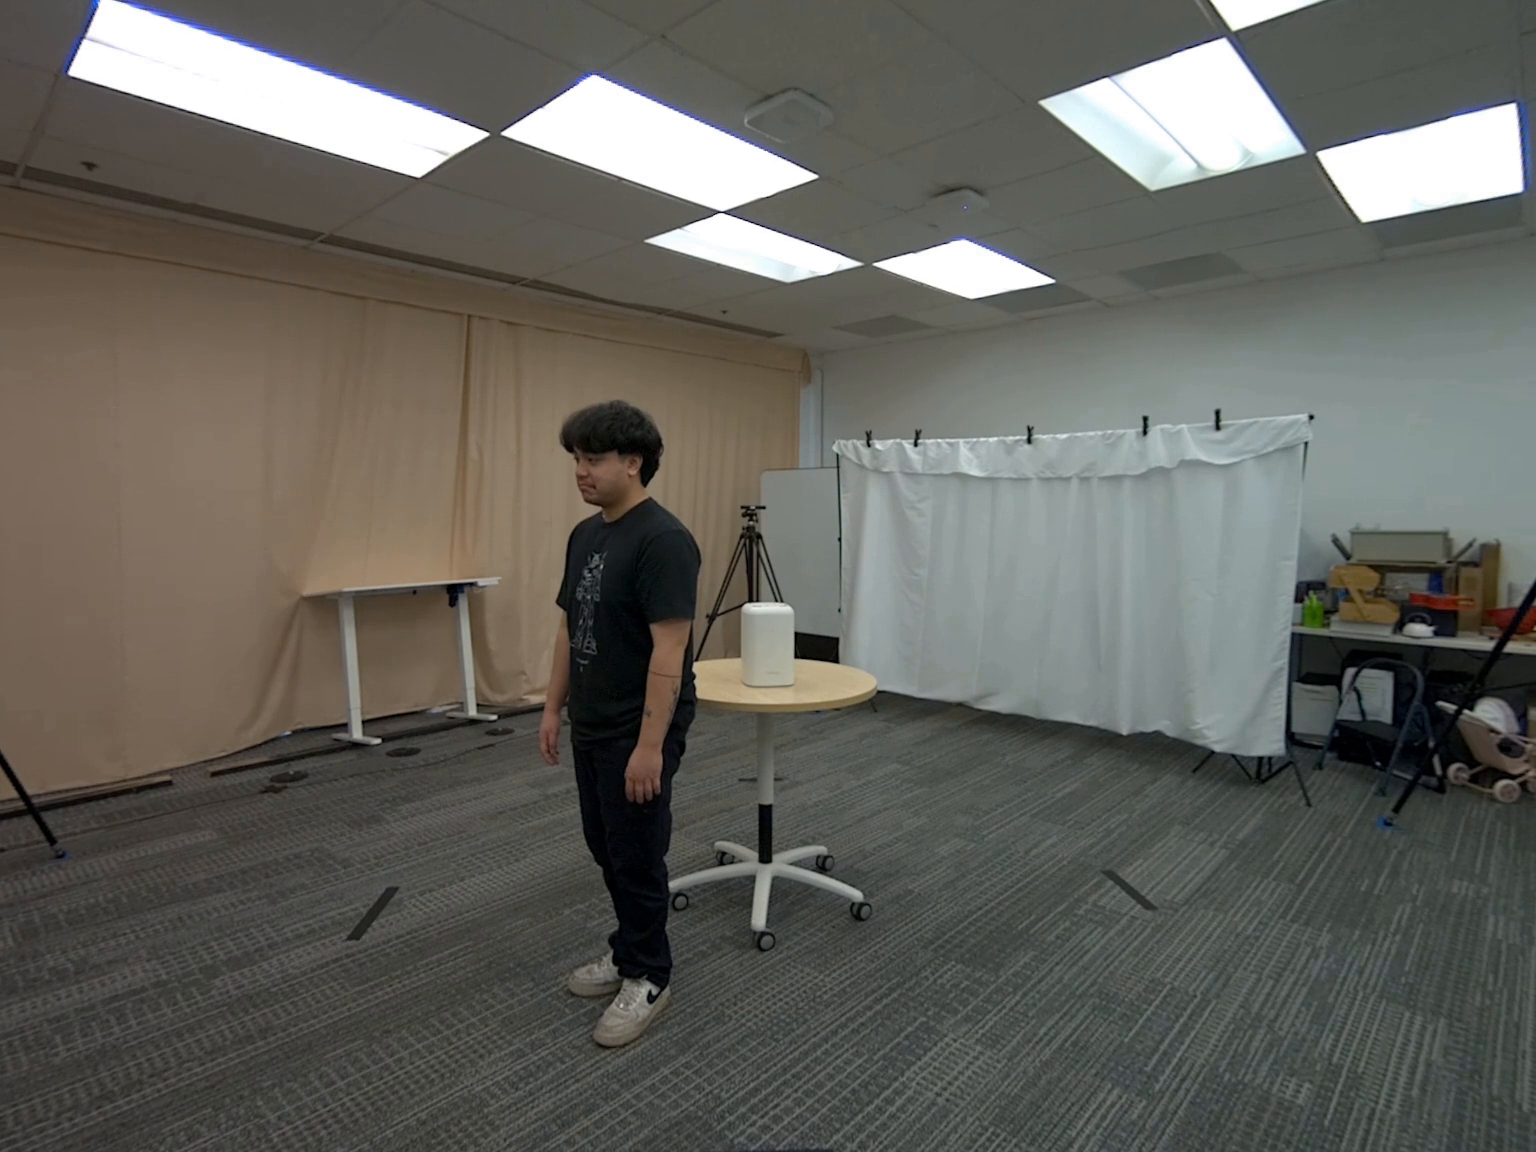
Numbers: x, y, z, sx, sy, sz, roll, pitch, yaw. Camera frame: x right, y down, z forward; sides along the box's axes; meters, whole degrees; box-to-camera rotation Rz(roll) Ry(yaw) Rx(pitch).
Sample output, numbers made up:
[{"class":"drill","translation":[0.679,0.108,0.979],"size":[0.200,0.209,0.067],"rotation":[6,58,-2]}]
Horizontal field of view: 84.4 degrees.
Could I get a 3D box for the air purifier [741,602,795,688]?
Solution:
[{"class":"air purifier","translation":[0.000,0.230,2.857],"size":[0.170,0.264,0.173],"rotation":[-1,5,-8]}]
